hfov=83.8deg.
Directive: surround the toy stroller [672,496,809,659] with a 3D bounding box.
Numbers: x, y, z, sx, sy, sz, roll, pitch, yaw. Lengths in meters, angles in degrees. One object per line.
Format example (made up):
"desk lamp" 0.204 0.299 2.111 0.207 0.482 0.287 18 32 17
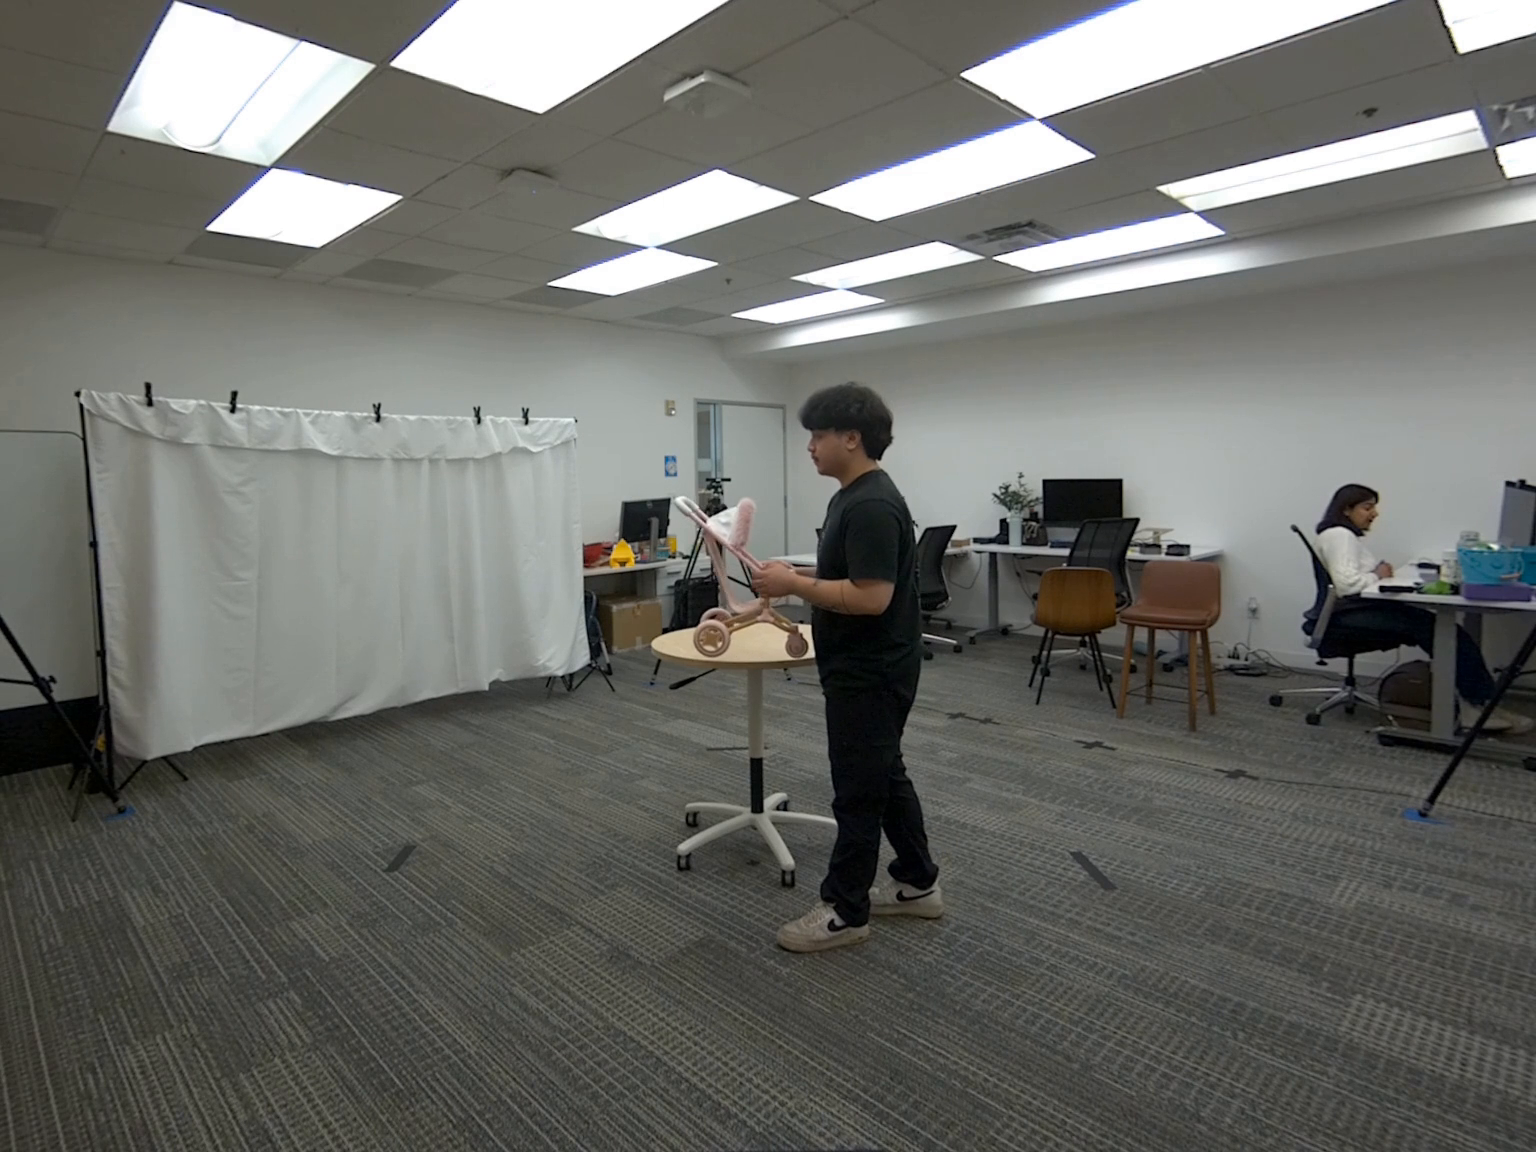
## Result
"toy stroller" -0.072 0.003 2.595 0.343 0.535 0.280 -8 0 7
